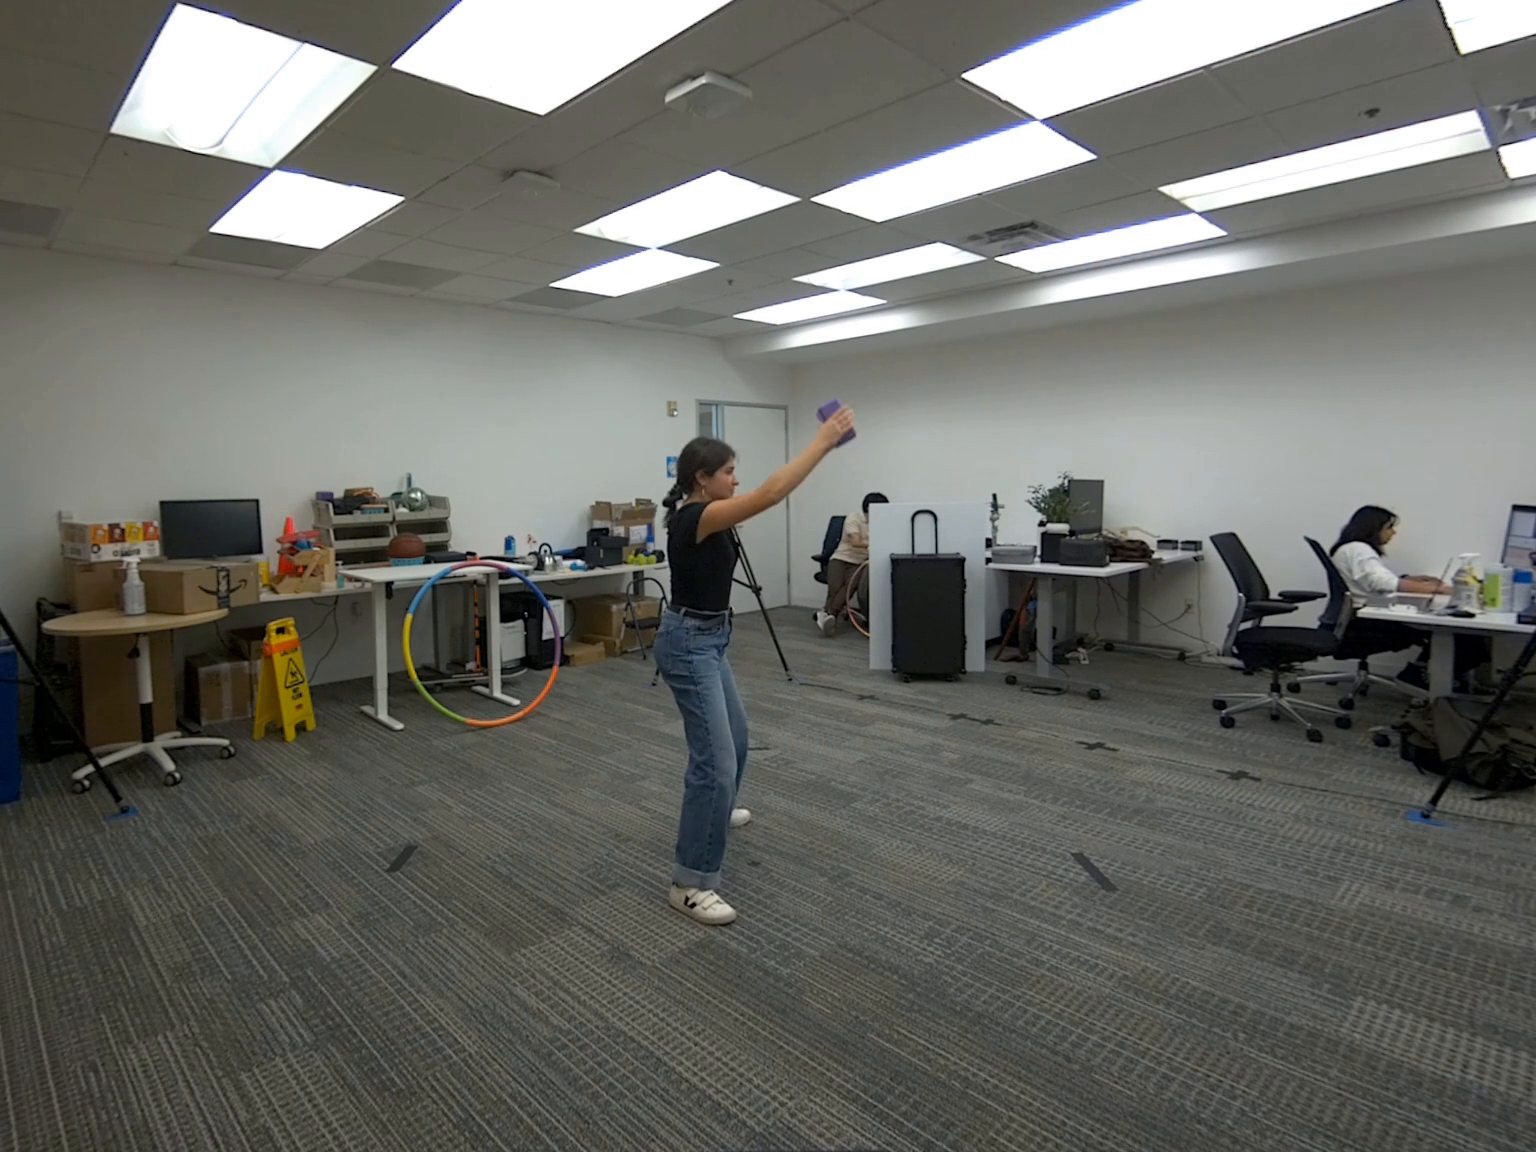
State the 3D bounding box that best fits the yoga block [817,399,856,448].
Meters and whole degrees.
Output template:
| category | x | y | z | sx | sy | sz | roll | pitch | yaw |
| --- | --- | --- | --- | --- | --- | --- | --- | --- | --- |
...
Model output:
| category | x | y | z | sx | sy | sz | roll | pitch | yaw |
| --- | --- | --- | --- | --- | --- | --- | --- | --- | --- |
| yoga block | 0.236 | -0.509 | 2.941 | 0.077 | 0.148 | 0.229 | -26 | 4 | 6 |
